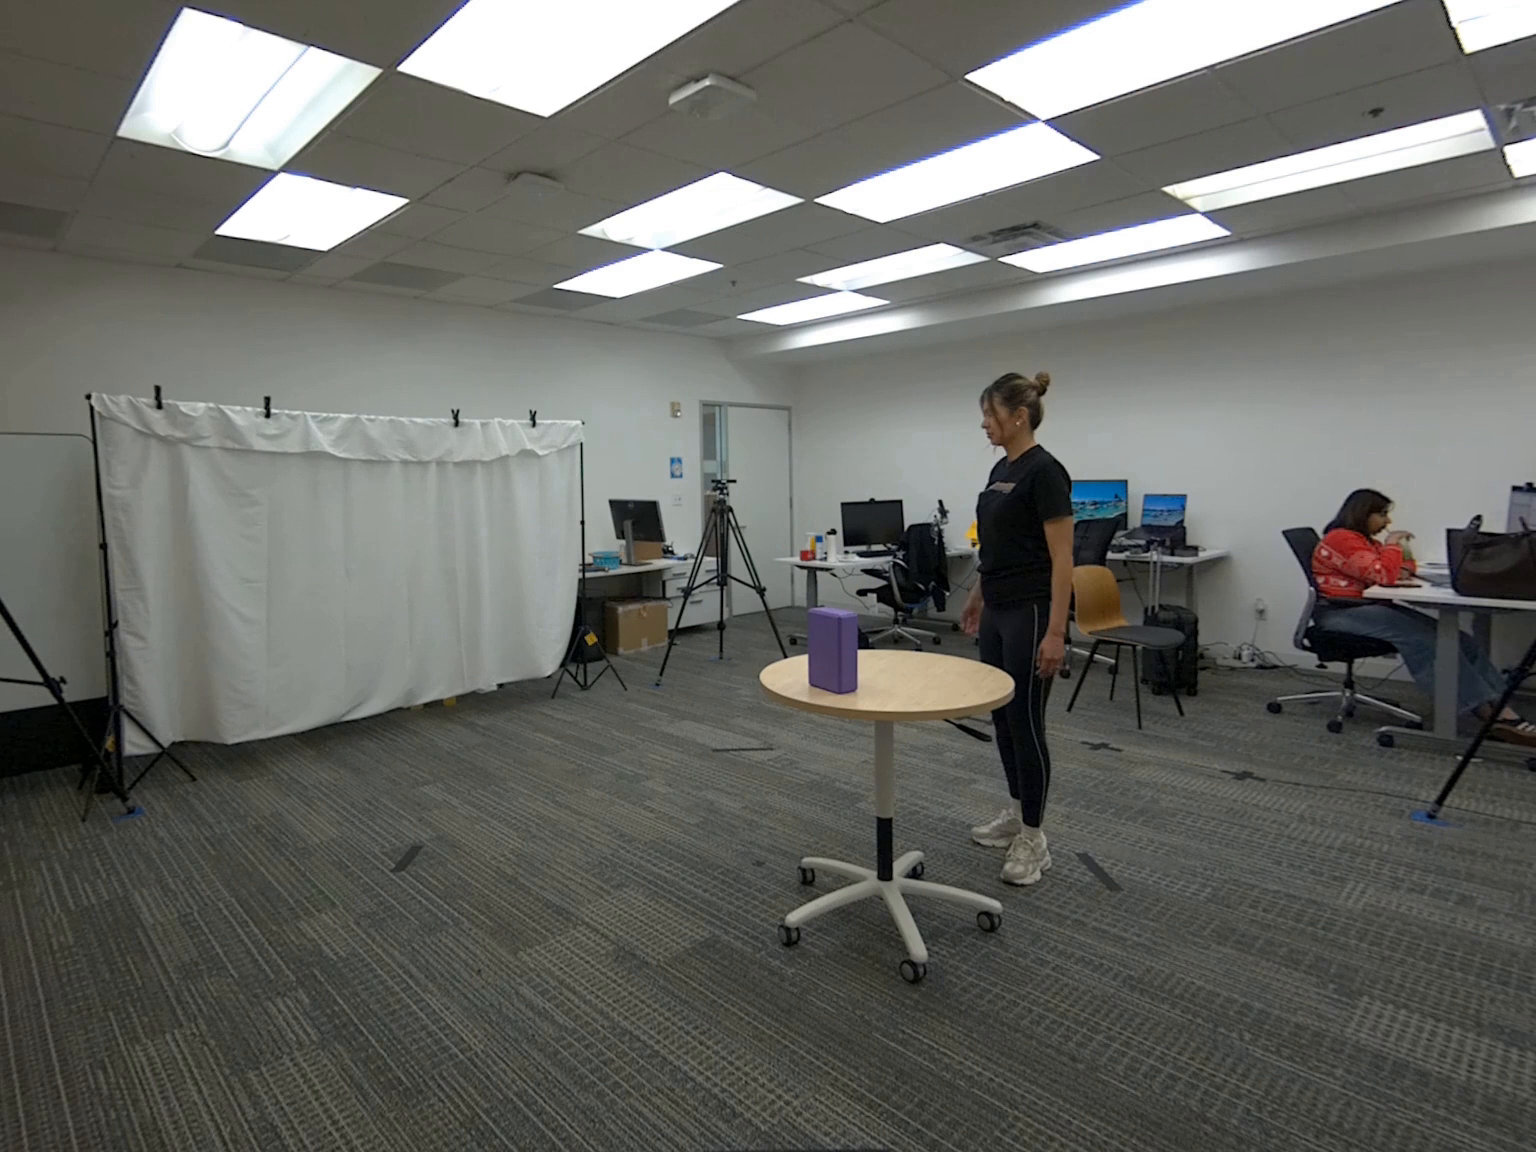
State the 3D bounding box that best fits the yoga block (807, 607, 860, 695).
[{"bbox_3d":[0.196,0.216,2.492,0.074,0.228,0.153,-3,6,-34],"label":"yoga block"}]
